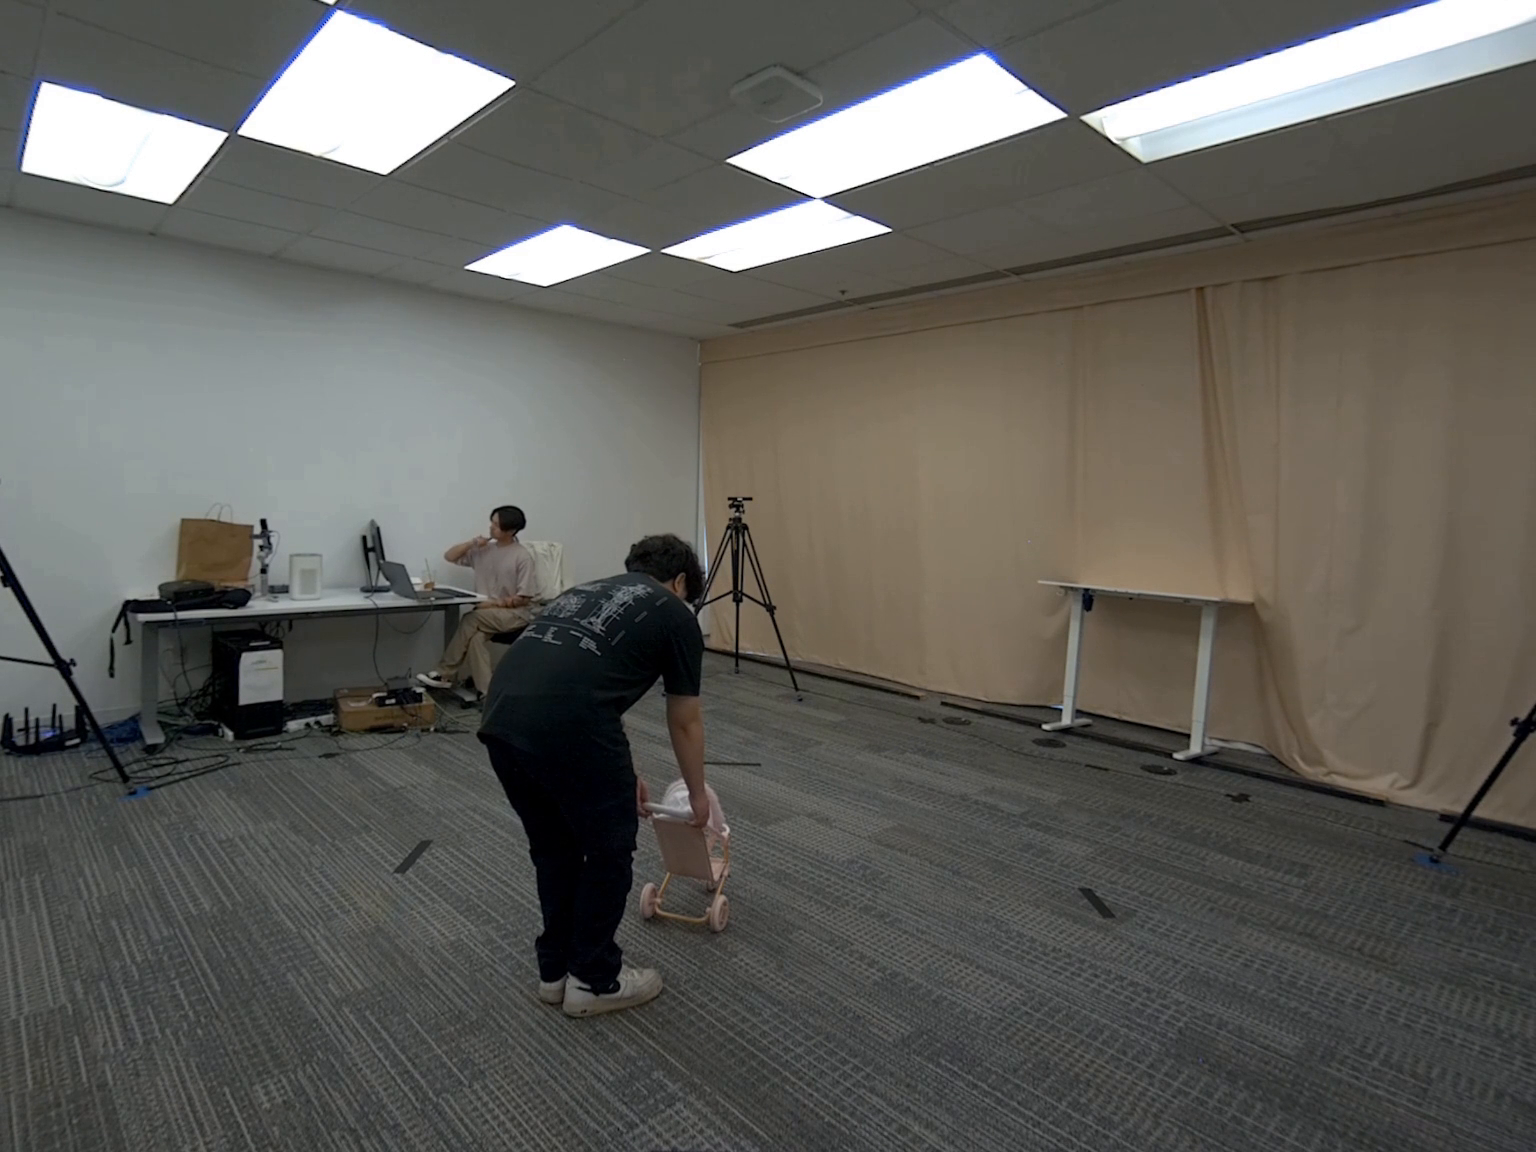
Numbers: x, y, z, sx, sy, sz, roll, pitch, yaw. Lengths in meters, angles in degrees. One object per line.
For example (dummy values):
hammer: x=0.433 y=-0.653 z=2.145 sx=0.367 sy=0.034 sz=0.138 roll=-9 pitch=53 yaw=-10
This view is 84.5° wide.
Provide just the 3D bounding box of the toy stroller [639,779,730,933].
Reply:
toy stroller: x=-0.255 y=0.909 z=2.798 sx=0.286 sy=0.528 sz=0.340 roll=4 pitch=19 yaw=21
